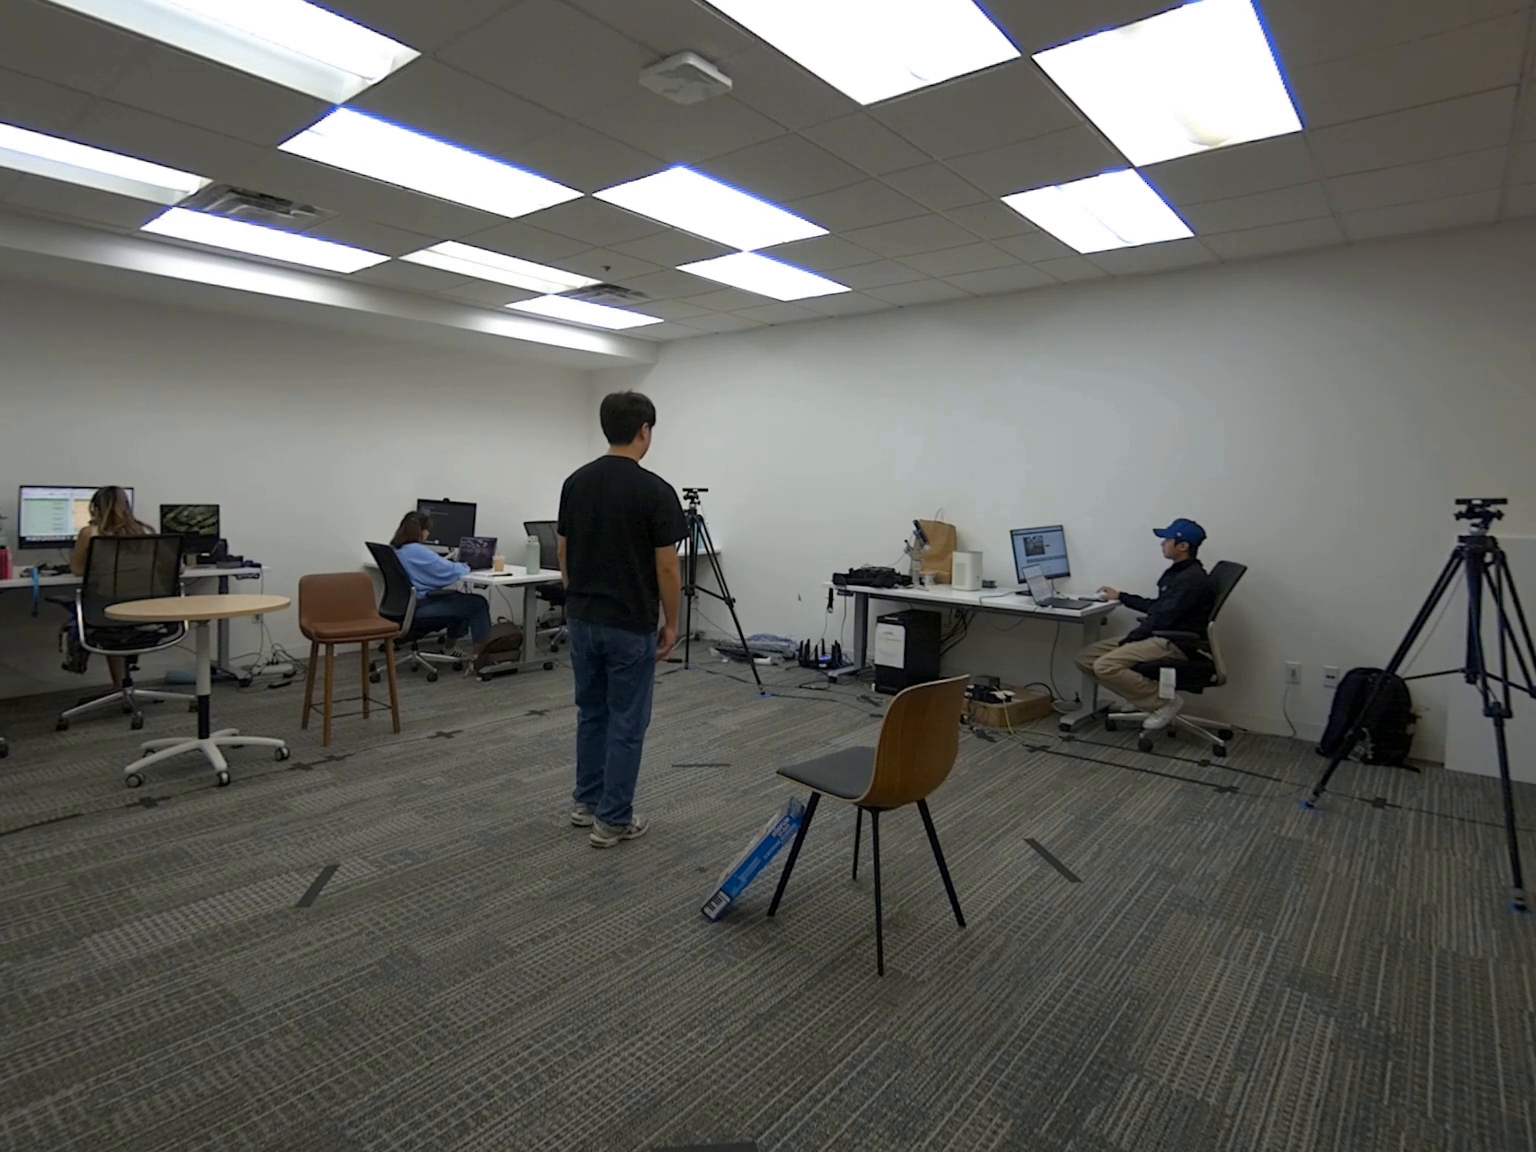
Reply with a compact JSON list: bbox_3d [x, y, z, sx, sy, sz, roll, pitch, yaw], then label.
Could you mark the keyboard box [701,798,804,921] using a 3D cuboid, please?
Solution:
[{"bbox_3d":[-0.058,0.928,2.771,0.059,0.436,0.175,40,9,2],"label":"keyboard box"}]
